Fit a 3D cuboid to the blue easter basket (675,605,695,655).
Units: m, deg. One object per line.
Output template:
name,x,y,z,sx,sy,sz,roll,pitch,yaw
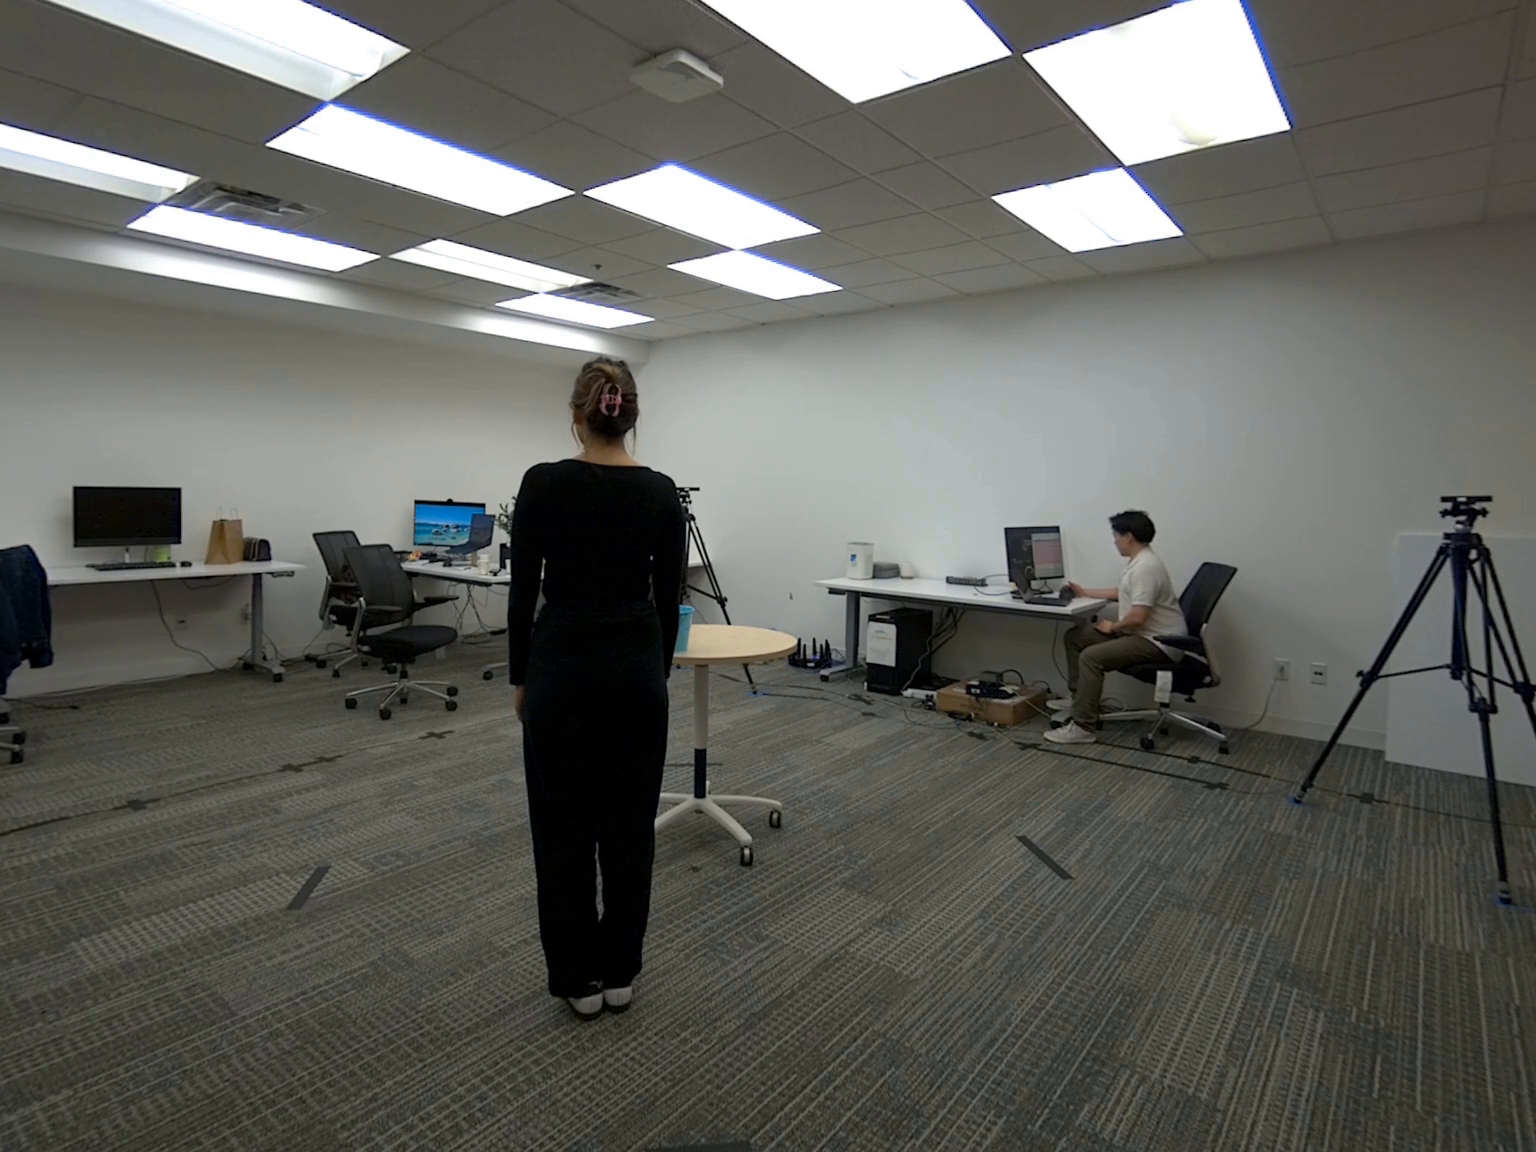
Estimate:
blue easter basket,-0.400,0.202,3.189,0.243,0.155,0.245,2,7,-2
